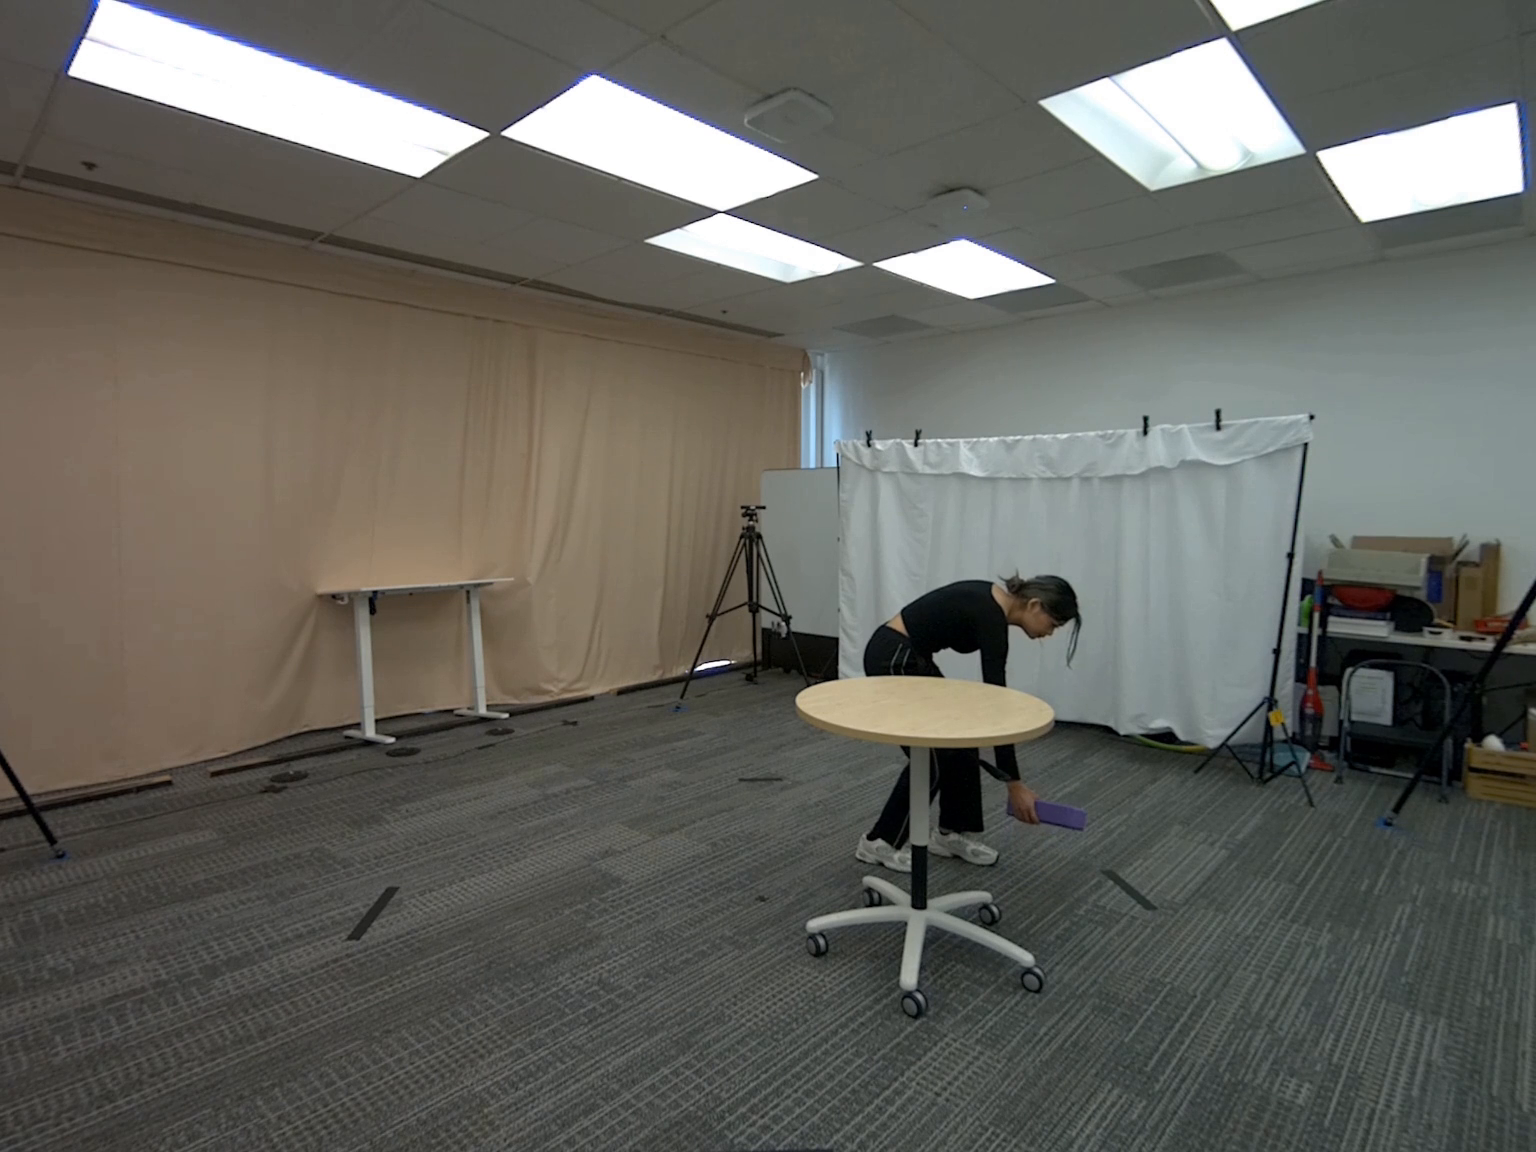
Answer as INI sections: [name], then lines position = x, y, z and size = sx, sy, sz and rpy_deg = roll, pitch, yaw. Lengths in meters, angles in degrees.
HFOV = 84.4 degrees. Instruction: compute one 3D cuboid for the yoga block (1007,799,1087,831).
[yoga block]
position = 1.009, 0.845, 3.001
size = 0.237, 0.077, 0.144
rpy_deg = 5, -10, 36
